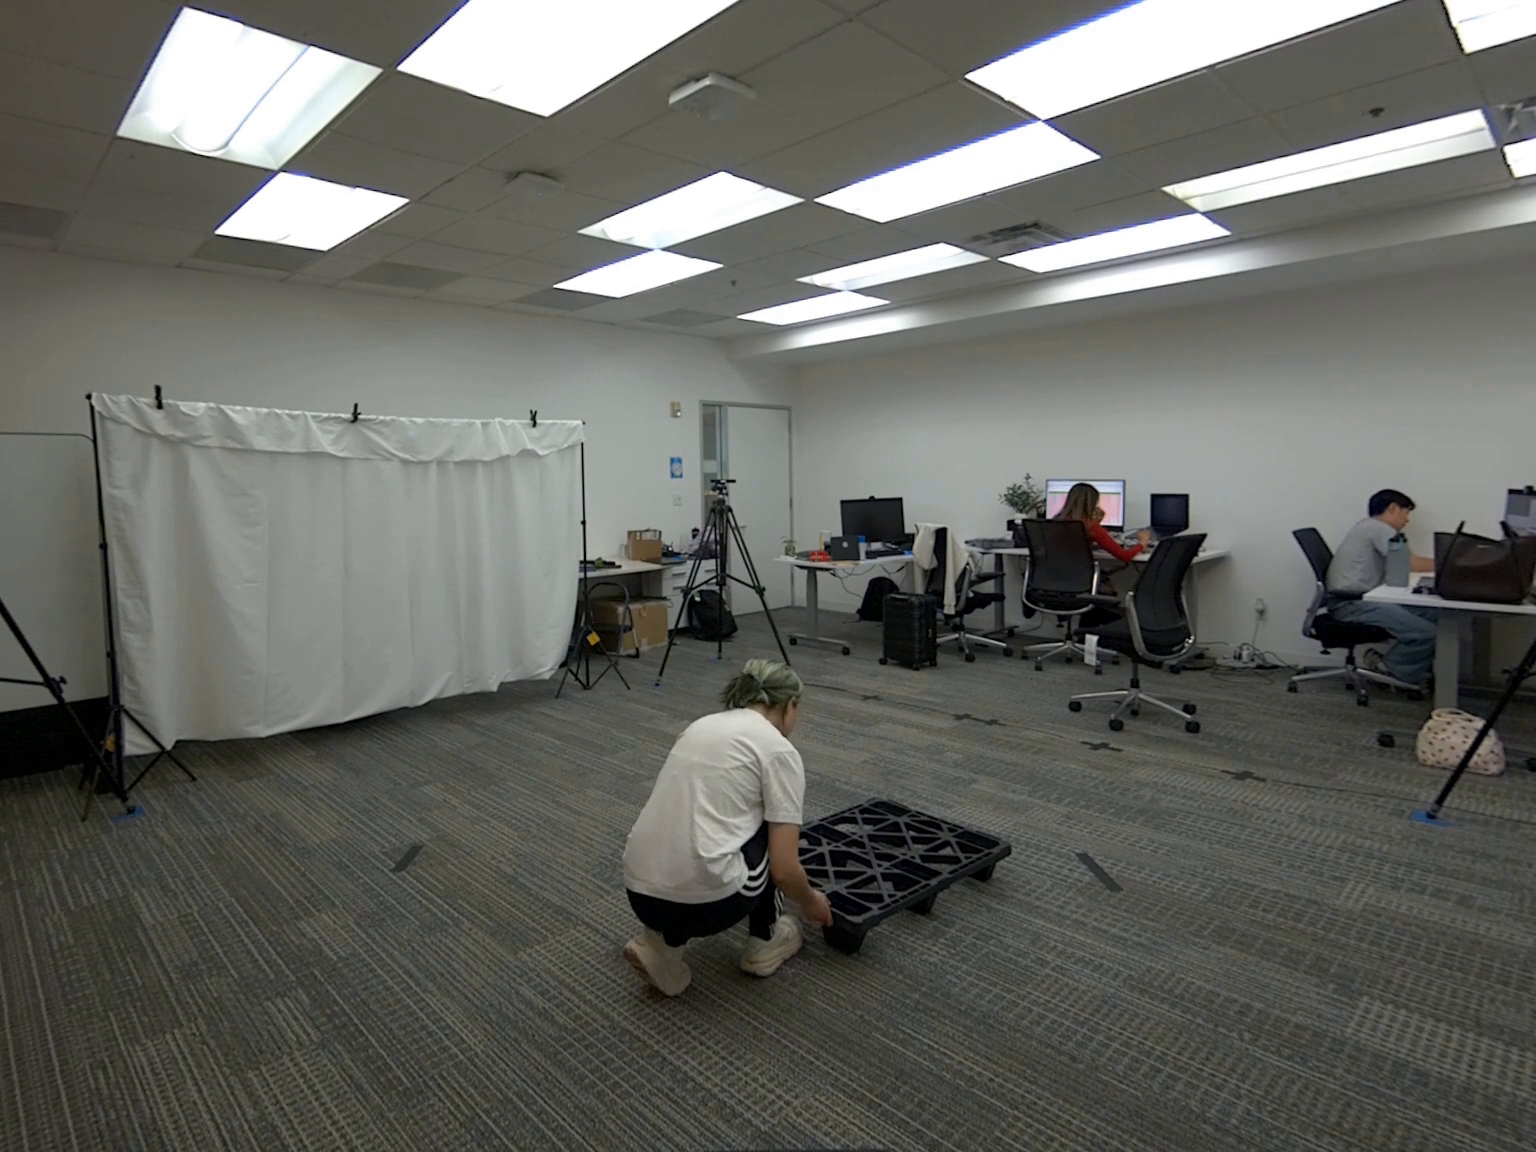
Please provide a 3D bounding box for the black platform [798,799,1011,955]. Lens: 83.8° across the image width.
[{"bbox_3d":[0.360,0.997,2.912,0.785,0.142,0.624,-7,9,-41],"label":"black platform"}]
